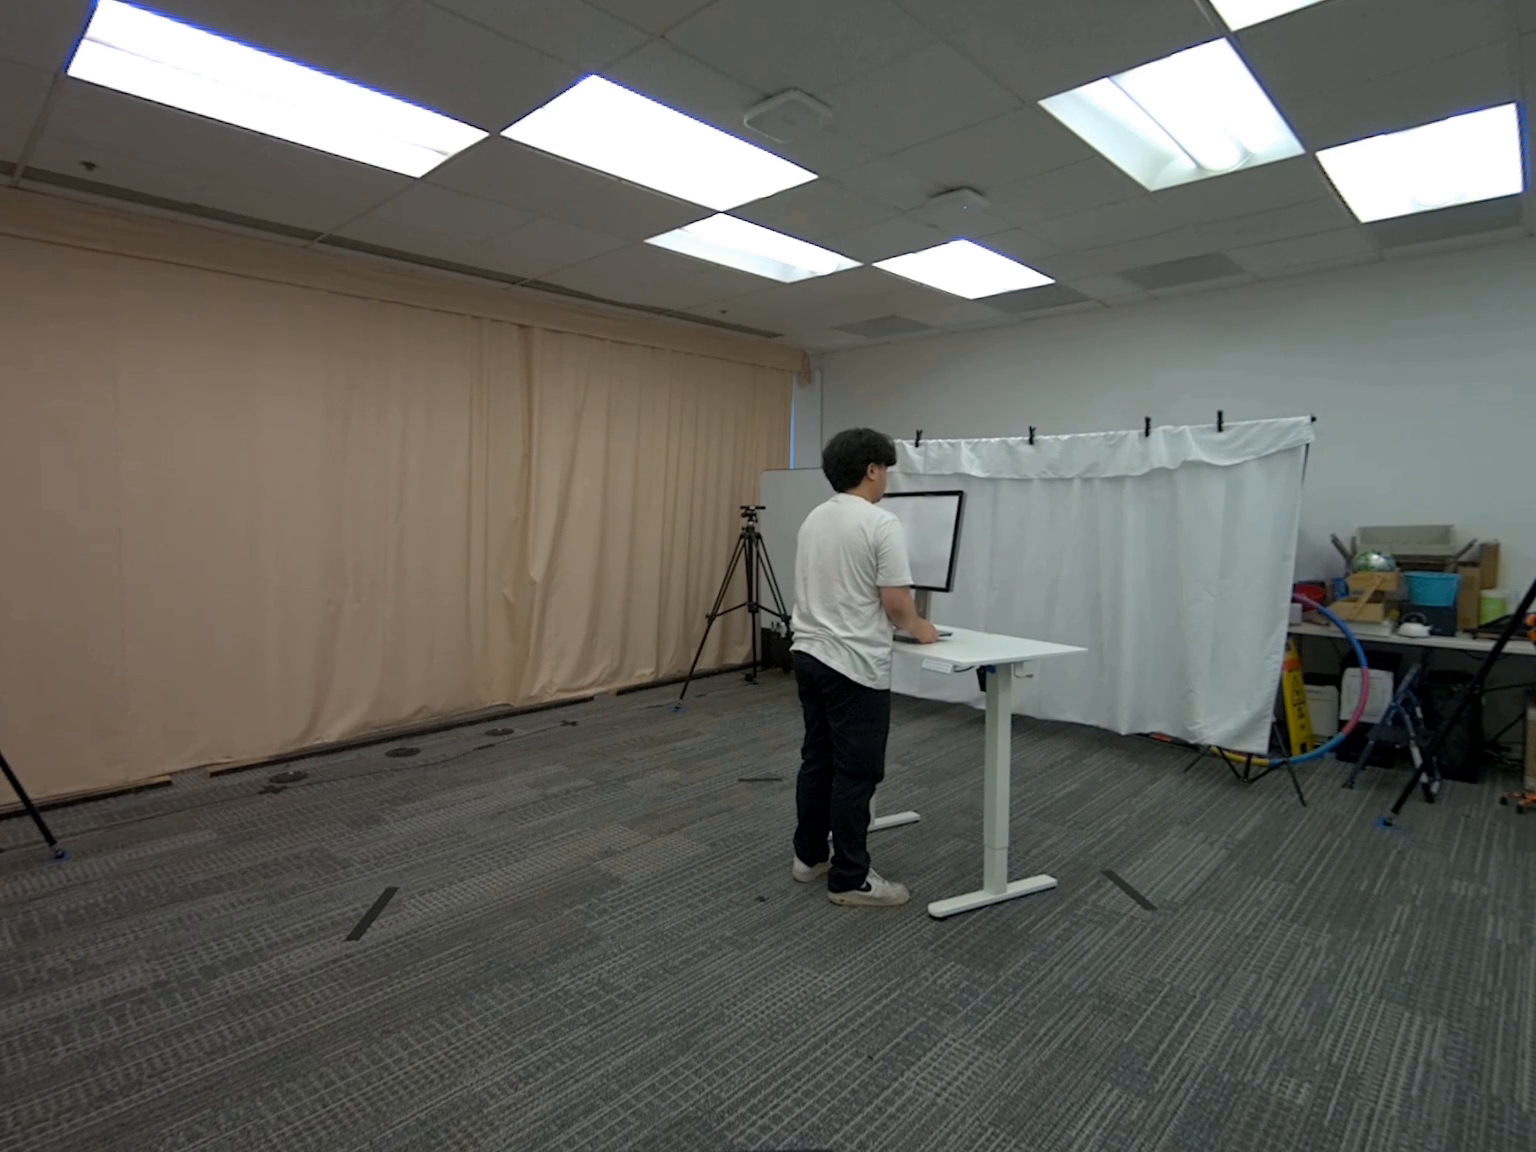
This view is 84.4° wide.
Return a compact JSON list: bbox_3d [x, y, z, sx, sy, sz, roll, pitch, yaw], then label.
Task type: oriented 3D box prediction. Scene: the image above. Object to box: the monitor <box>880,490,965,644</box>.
[{"bbox_3d":[0.569,-0.044,3.209,0.204,0.554,0.582,4,0,-32],"label":"monitor"}]
